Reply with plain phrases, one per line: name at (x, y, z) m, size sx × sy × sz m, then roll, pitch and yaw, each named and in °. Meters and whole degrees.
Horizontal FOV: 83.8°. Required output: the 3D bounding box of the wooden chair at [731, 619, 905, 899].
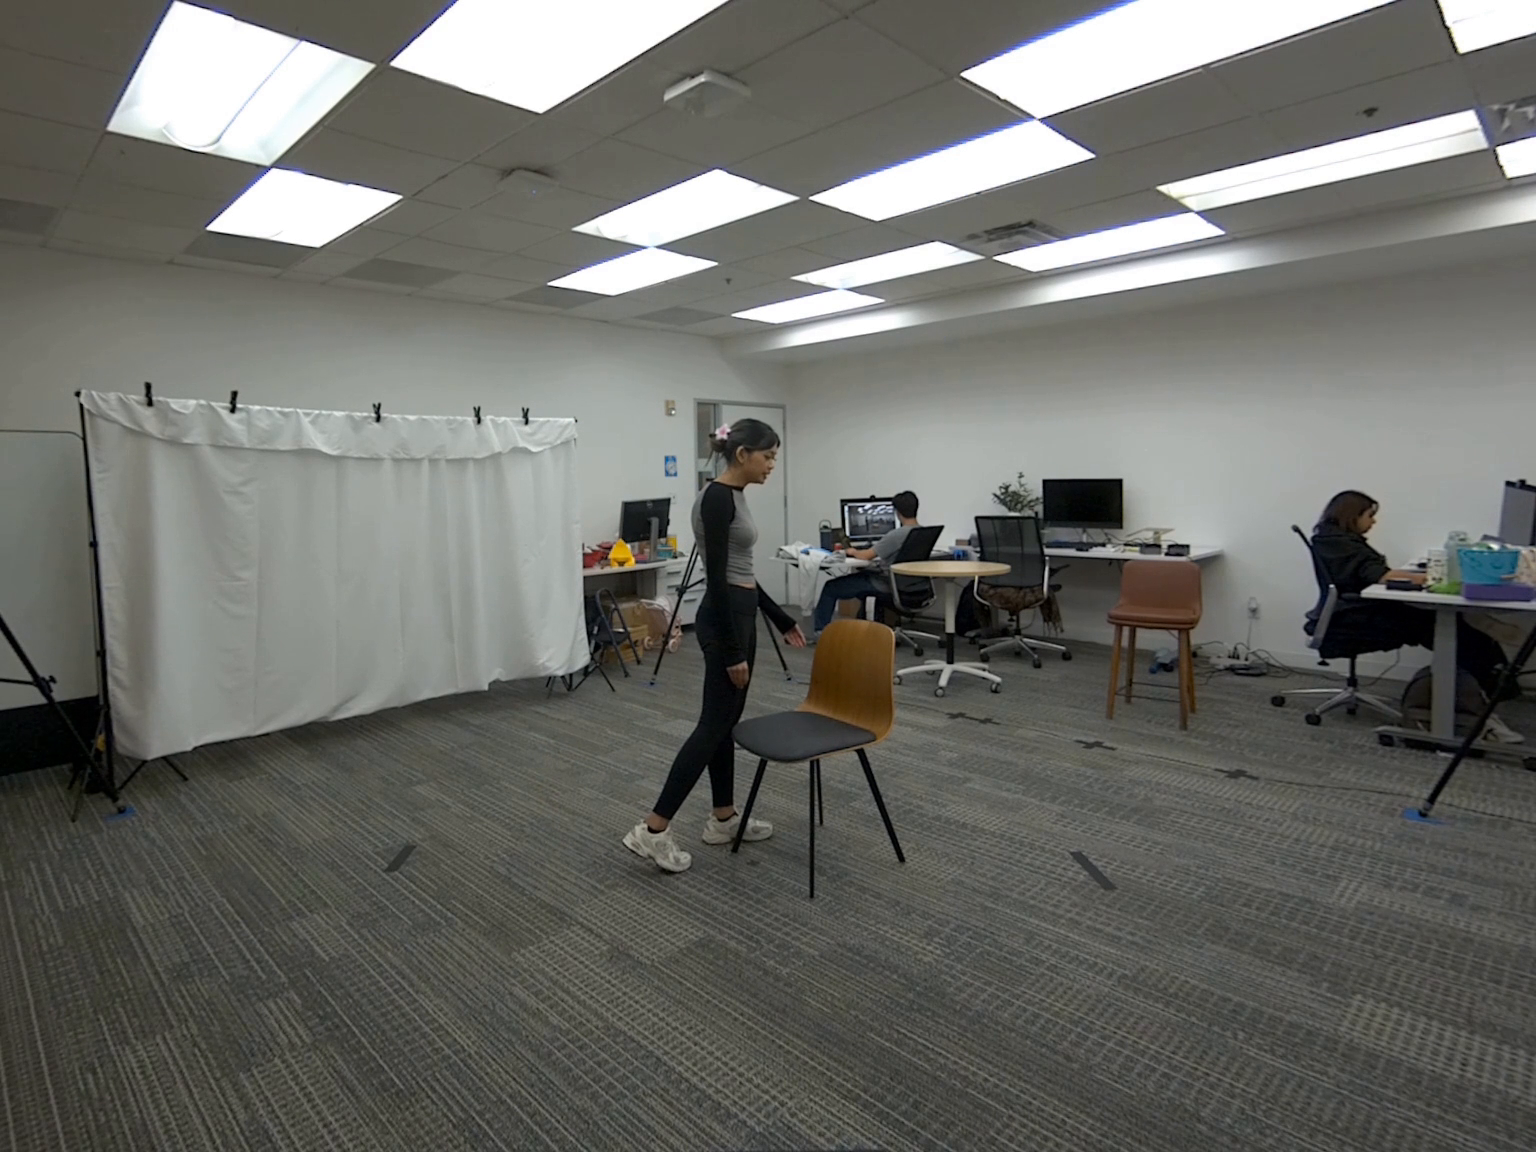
wooden chair at (0.171, 0.609, 3.101) m, size 0.508 × 0.876 × 0.492 m, roll 1°, pitch 3°, yaw -38°
